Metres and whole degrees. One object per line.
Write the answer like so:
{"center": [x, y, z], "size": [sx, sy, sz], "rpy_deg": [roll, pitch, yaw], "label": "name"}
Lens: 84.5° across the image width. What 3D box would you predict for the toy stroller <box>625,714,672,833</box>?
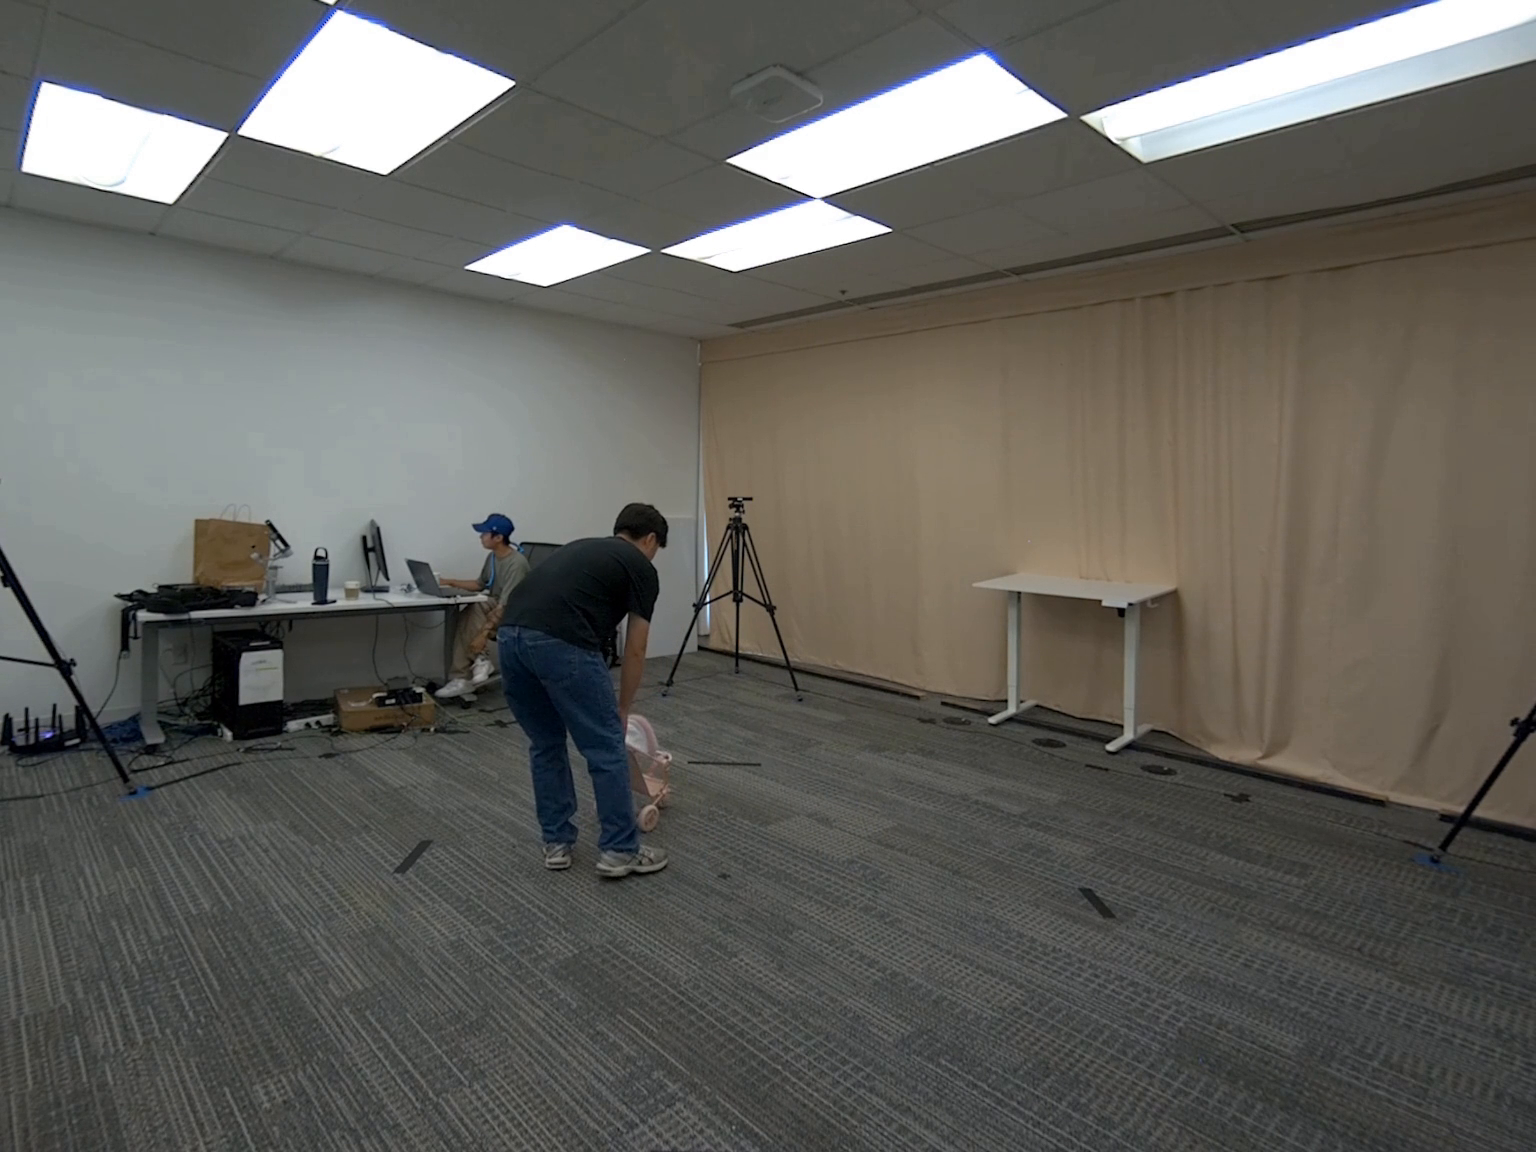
{"center": [-0.570, 0.832, 3.618], "size": [0.288, 0.527, 0.337], "rpy_deg": [7, 22, 36], "label": "toy stroller"}
